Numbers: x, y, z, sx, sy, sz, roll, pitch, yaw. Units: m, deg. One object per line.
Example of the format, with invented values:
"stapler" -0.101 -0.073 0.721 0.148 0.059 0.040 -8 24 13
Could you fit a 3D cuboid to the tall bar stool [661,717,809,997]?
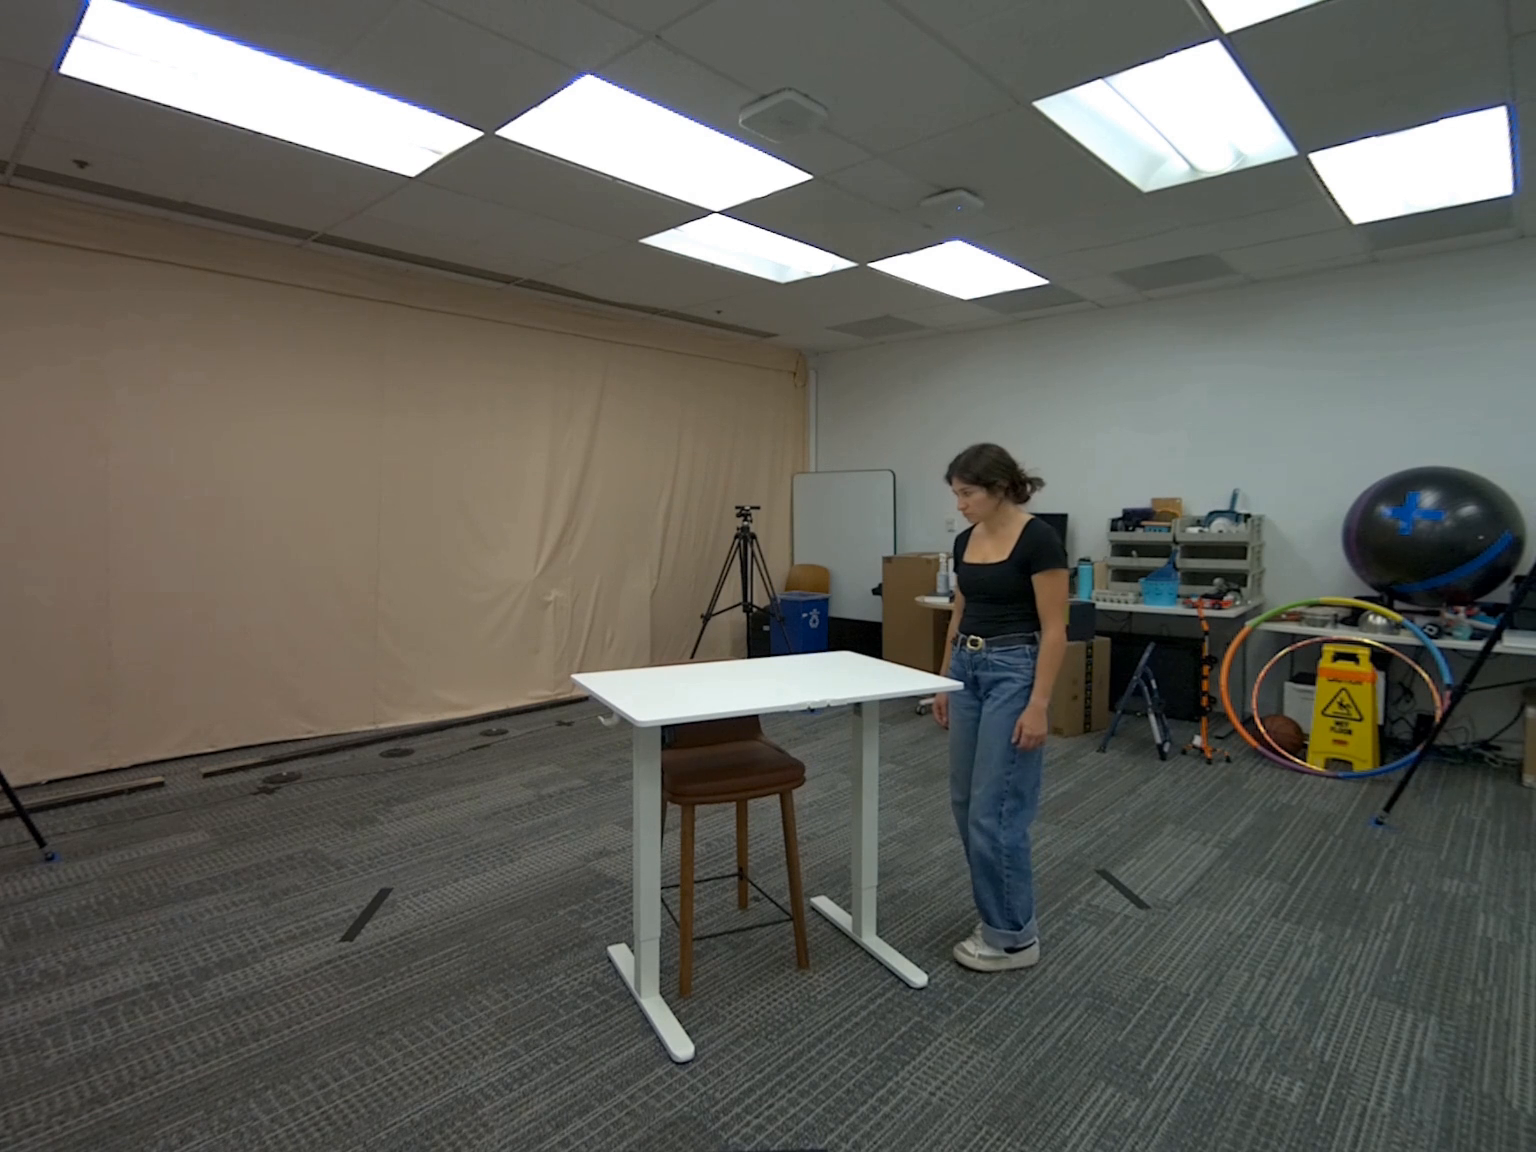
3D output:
"tall bar stool" -0.148 0.749 2.644 0.446 0.889 0.479 -1 1 -24
